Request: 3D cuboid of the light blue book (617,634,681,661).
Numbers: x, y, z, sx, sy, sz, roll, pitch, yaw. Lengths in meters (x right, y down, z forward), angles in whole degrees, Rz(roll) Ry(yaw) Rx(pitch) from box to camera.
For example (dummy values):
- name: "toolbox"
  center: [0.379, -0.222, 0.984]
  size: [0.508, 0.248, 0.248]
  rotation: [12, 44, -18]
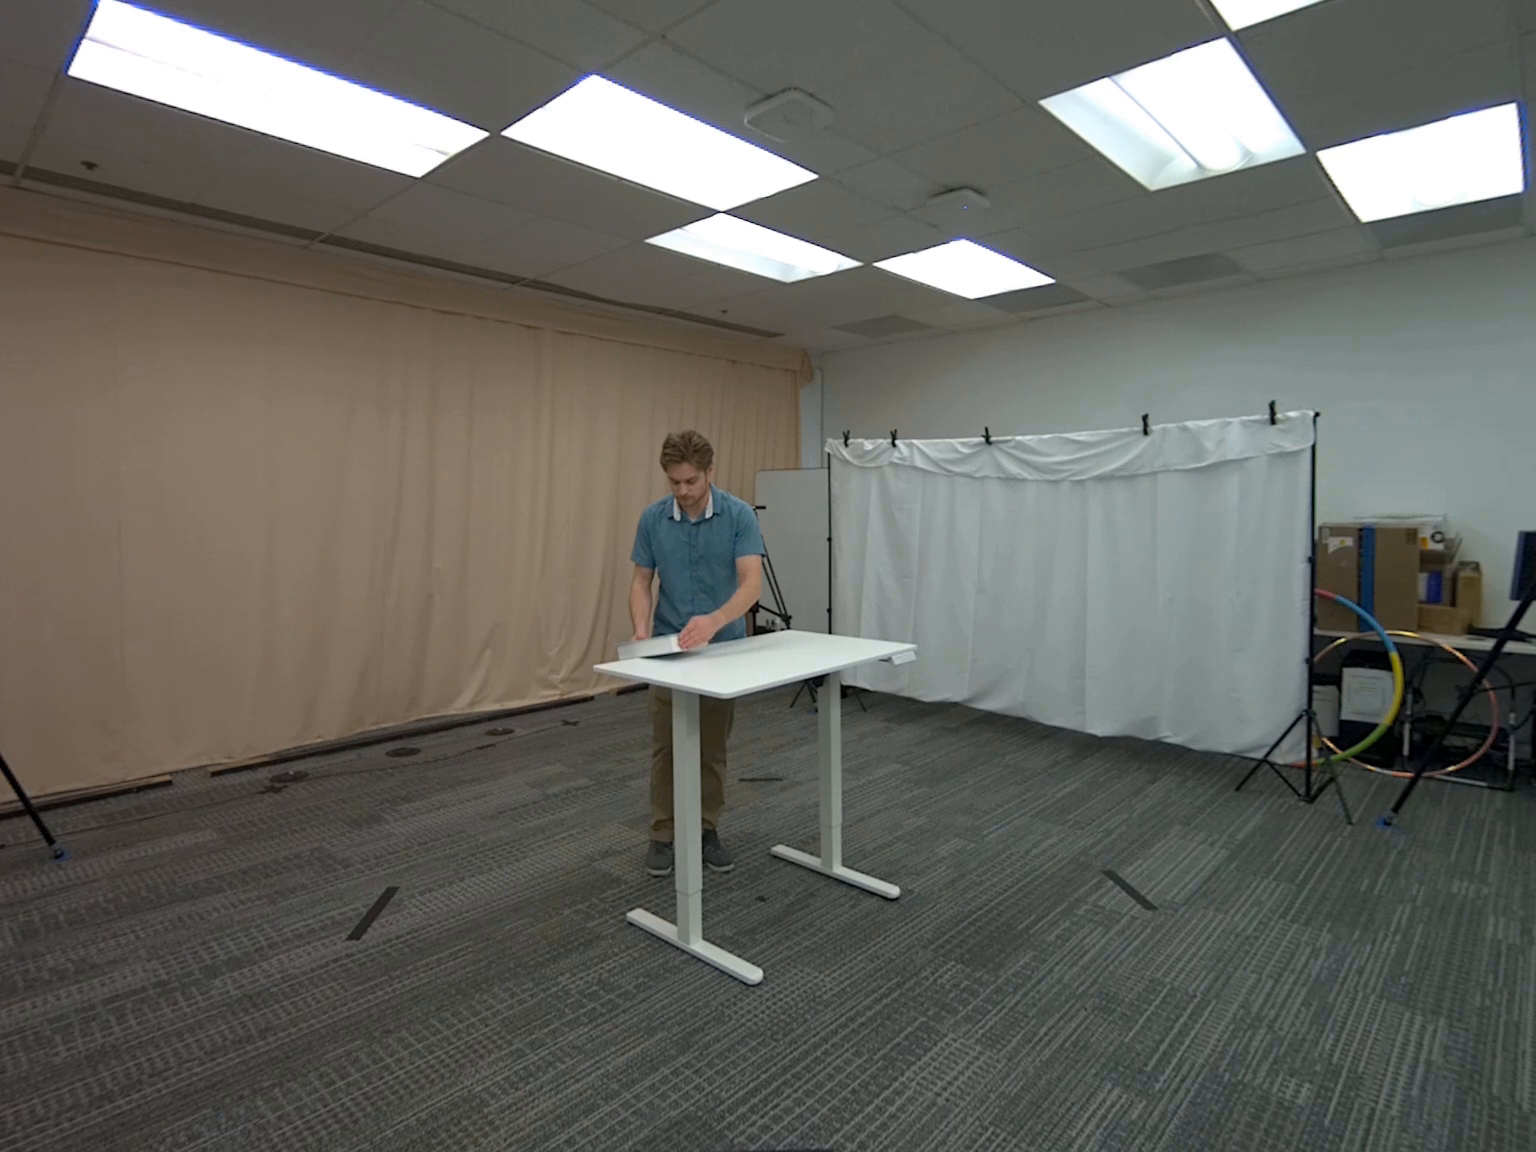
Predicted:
- name: "light blue book"
  center: [-0.387, 0.247, 2.933]
  size: [0.268, 0.059, 0.185]
  rotation: [-11, -6, 40]
